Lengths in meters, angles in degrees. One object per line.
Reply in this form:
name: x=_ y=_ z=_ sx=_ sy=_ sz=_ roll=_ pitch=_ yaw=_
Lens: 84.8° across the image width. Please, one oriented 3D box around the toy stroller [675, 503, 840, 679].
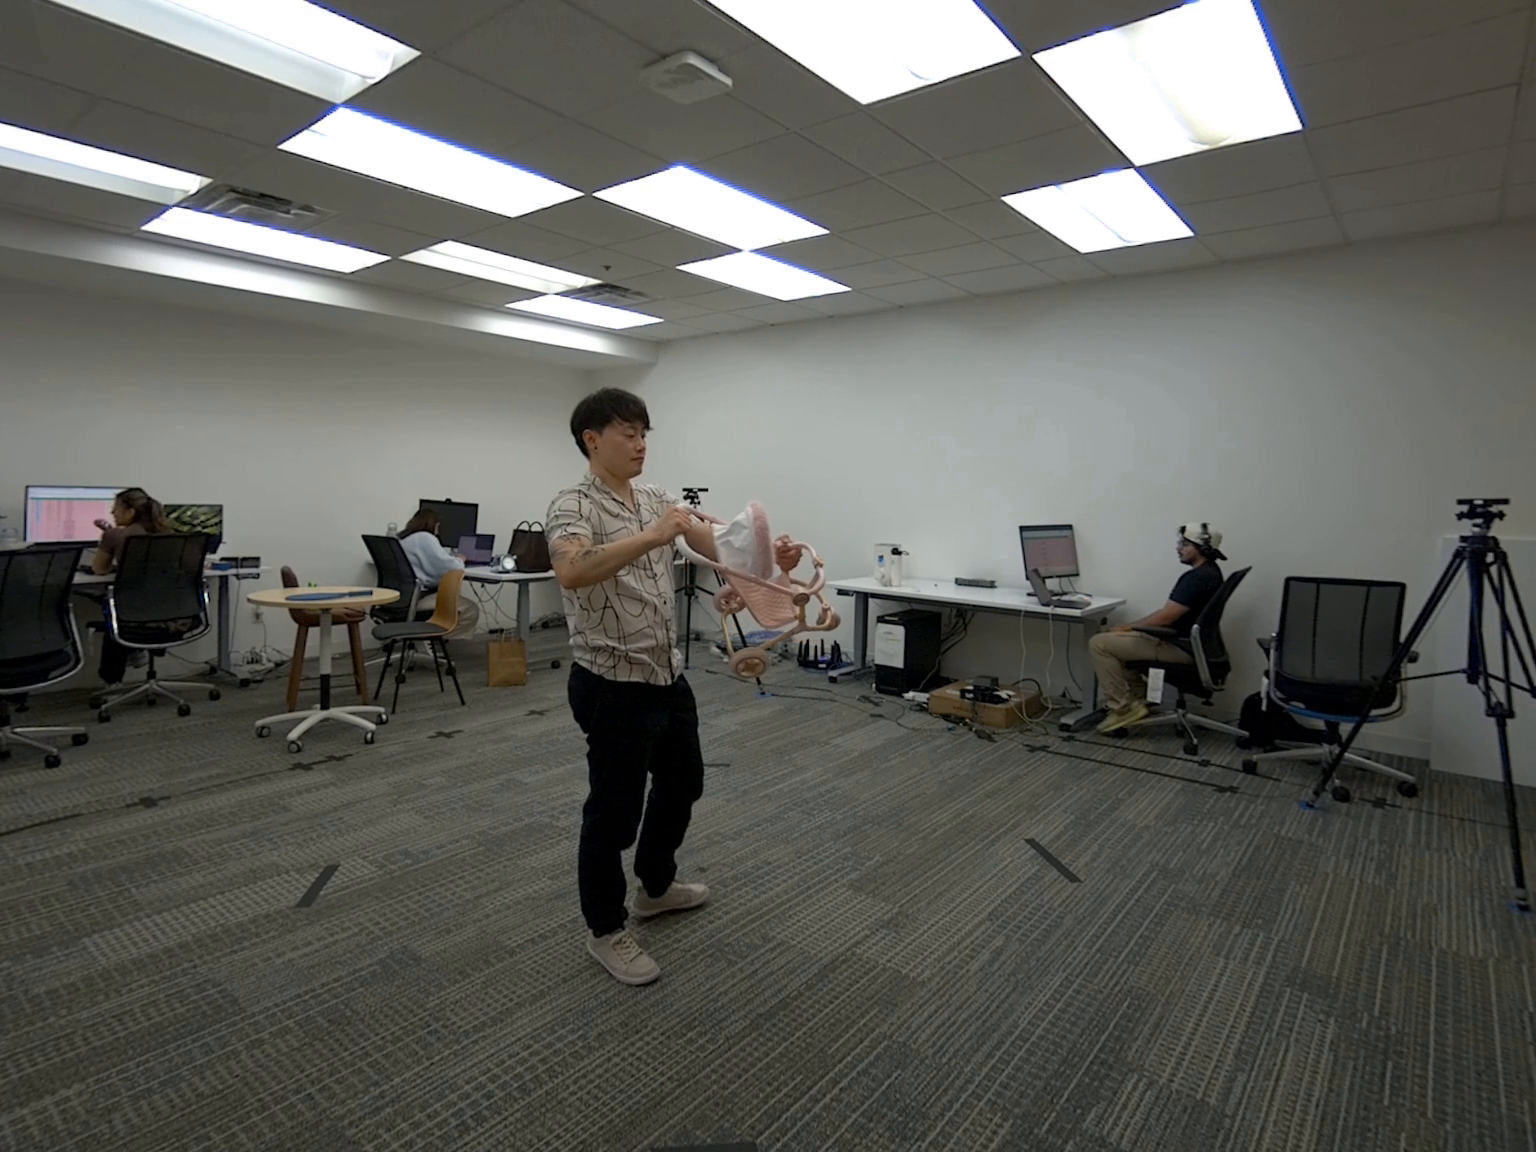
toy stroller: x=-0.018 y=0.013 z=2.227 sx=0.342 sy=0.515 sz=0.291 roll=-16 pitch=41 yaw=4
